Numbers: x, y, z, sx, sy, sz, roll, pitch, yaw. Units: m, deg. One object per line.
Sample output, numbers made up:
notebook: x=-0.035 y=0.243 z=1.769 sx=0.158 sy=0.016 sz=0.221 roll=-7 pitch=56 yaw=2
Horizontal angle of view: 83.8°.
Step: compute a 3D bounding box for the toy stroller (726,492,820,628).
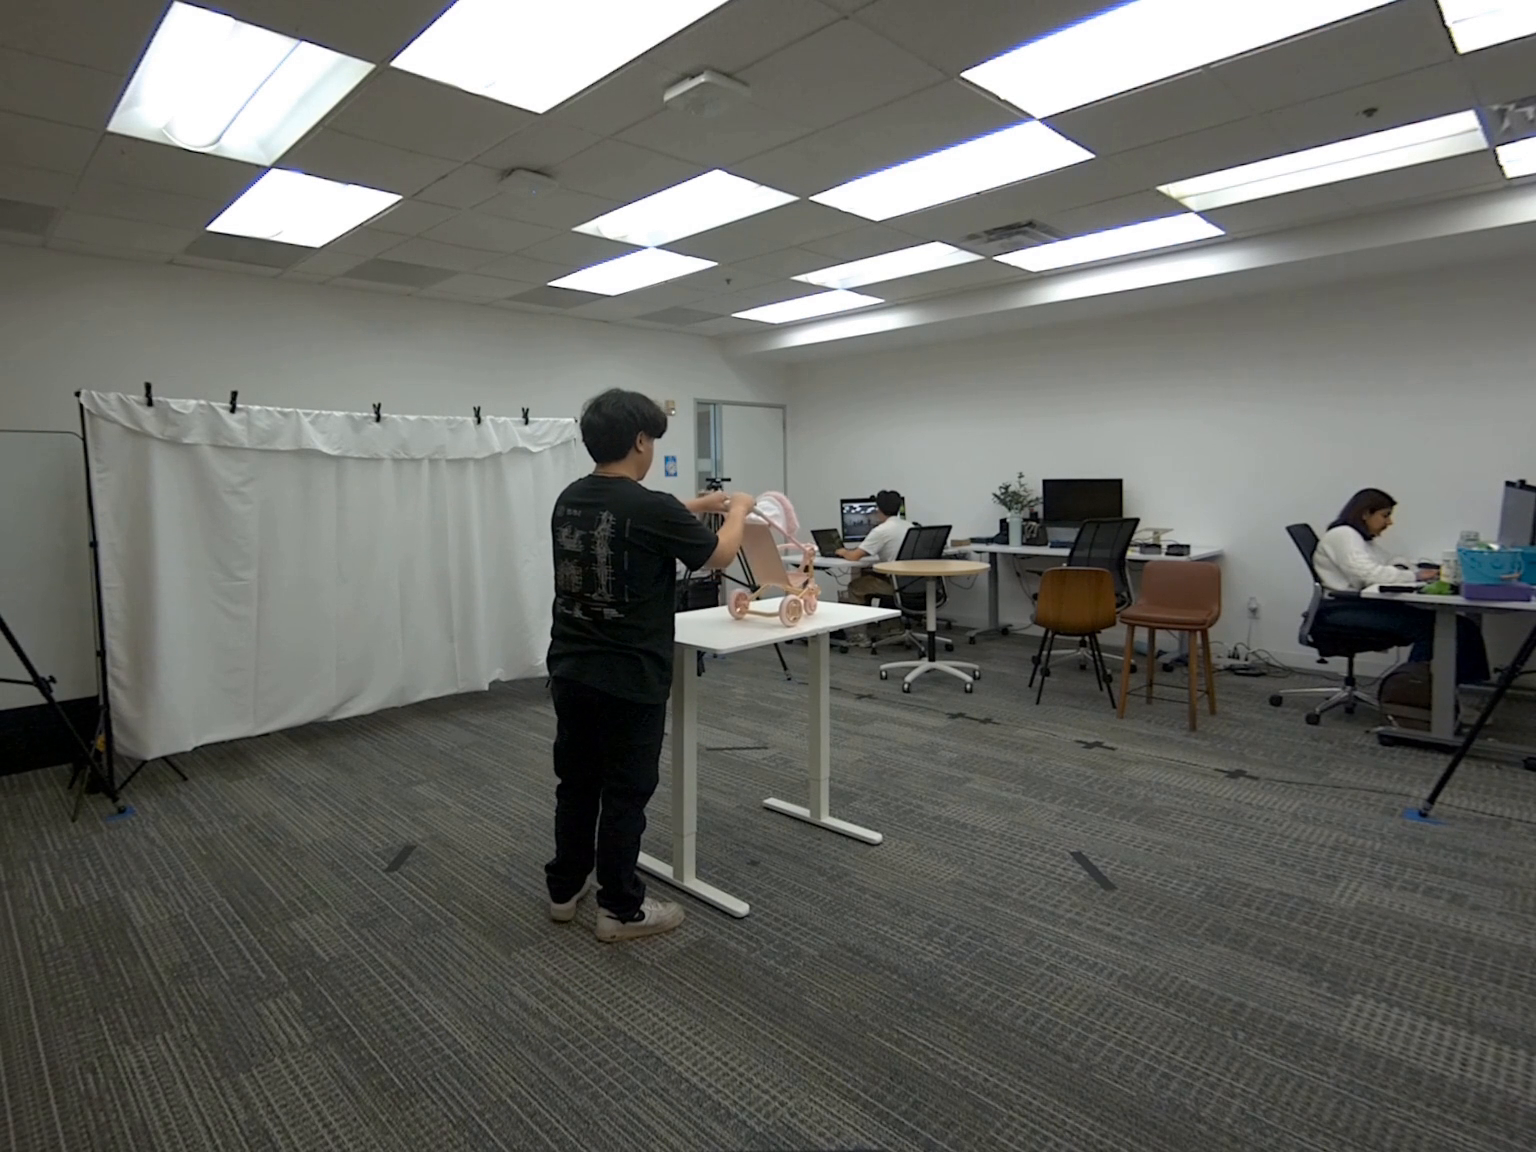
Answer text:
toy stroller: x=0.030 y=-0.062 z=3.067 sx=0.336 sy=0.527 sz=0.290 roll=-22 pitch=17 yaw=-39
